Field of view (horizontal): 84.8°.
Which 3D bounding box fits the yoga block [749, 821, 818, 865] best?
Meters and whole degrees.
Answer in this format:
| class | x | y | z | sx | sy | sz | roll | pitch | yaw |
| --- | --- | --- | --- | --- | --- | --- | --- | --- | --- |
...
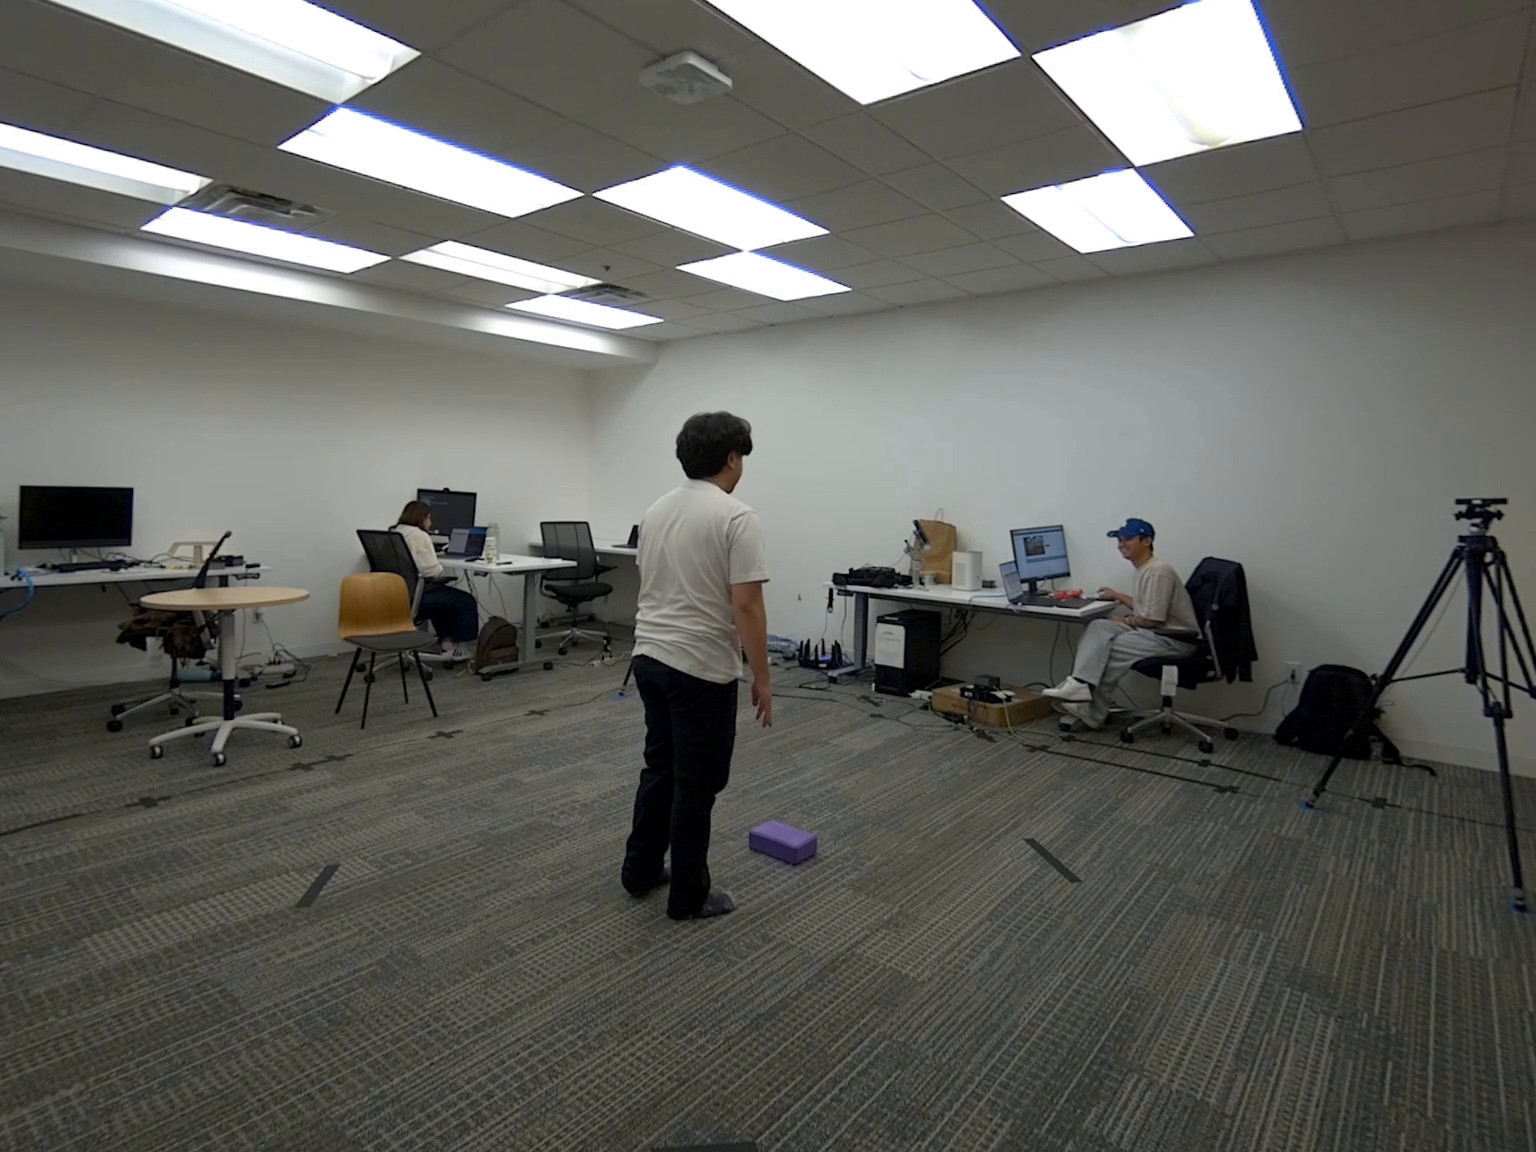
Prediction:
| class | x | y | z | sx | sy | sz | roll | pitch | yaw |
| --- | --- | --- | --- | --- | --- | --- | --- | --- | --- |
| yoga block | 0.049 | 1.021 | 3.276 | 0.237 | 0.076 | 0.145 | 5 | 7 | 38 |
